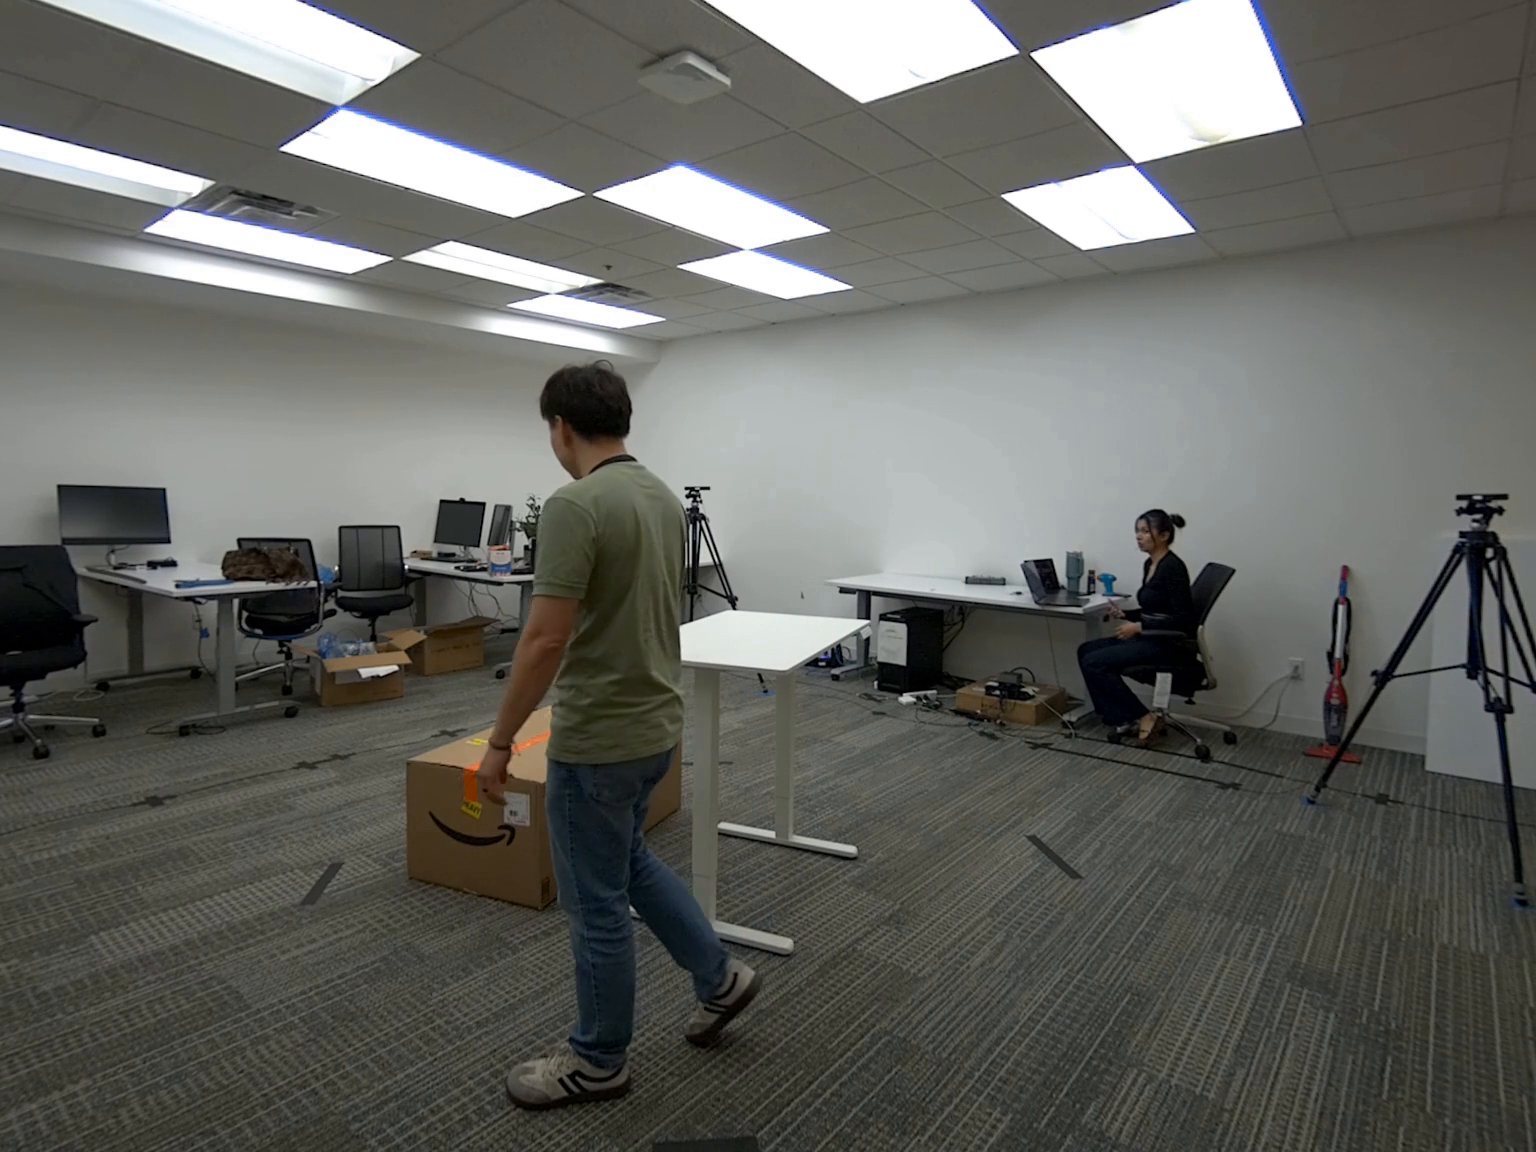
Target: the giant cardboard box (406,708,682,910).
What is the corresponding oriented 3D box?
[{"bbox_3d":[-0.833,0.816,3.334,0.591,0.424,1.006,2,5,21],"label":"giant cardboard box"}]
